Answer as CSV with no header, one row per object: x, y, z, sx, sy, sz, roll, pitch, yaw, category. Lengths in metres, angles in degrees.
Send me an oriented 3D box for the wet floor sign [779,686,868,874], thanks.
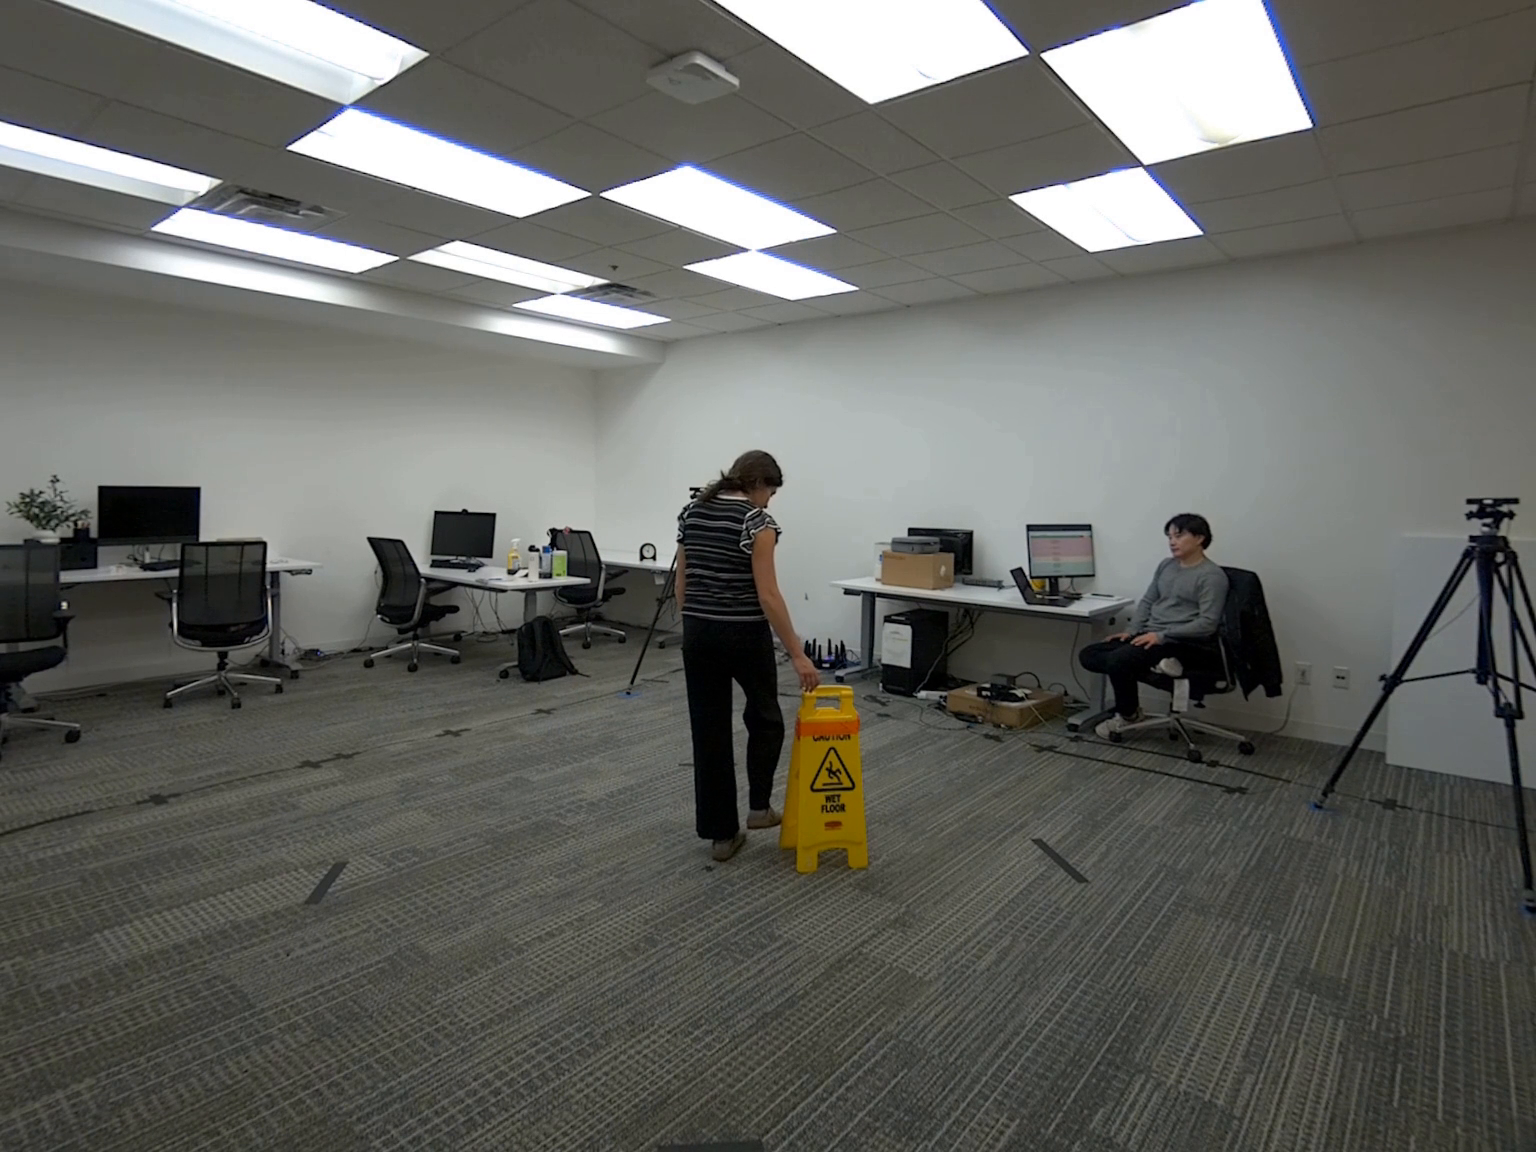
0.216,0.741,3.214,0.278,0.644,0.295,0,4,-14,wet floor sign
